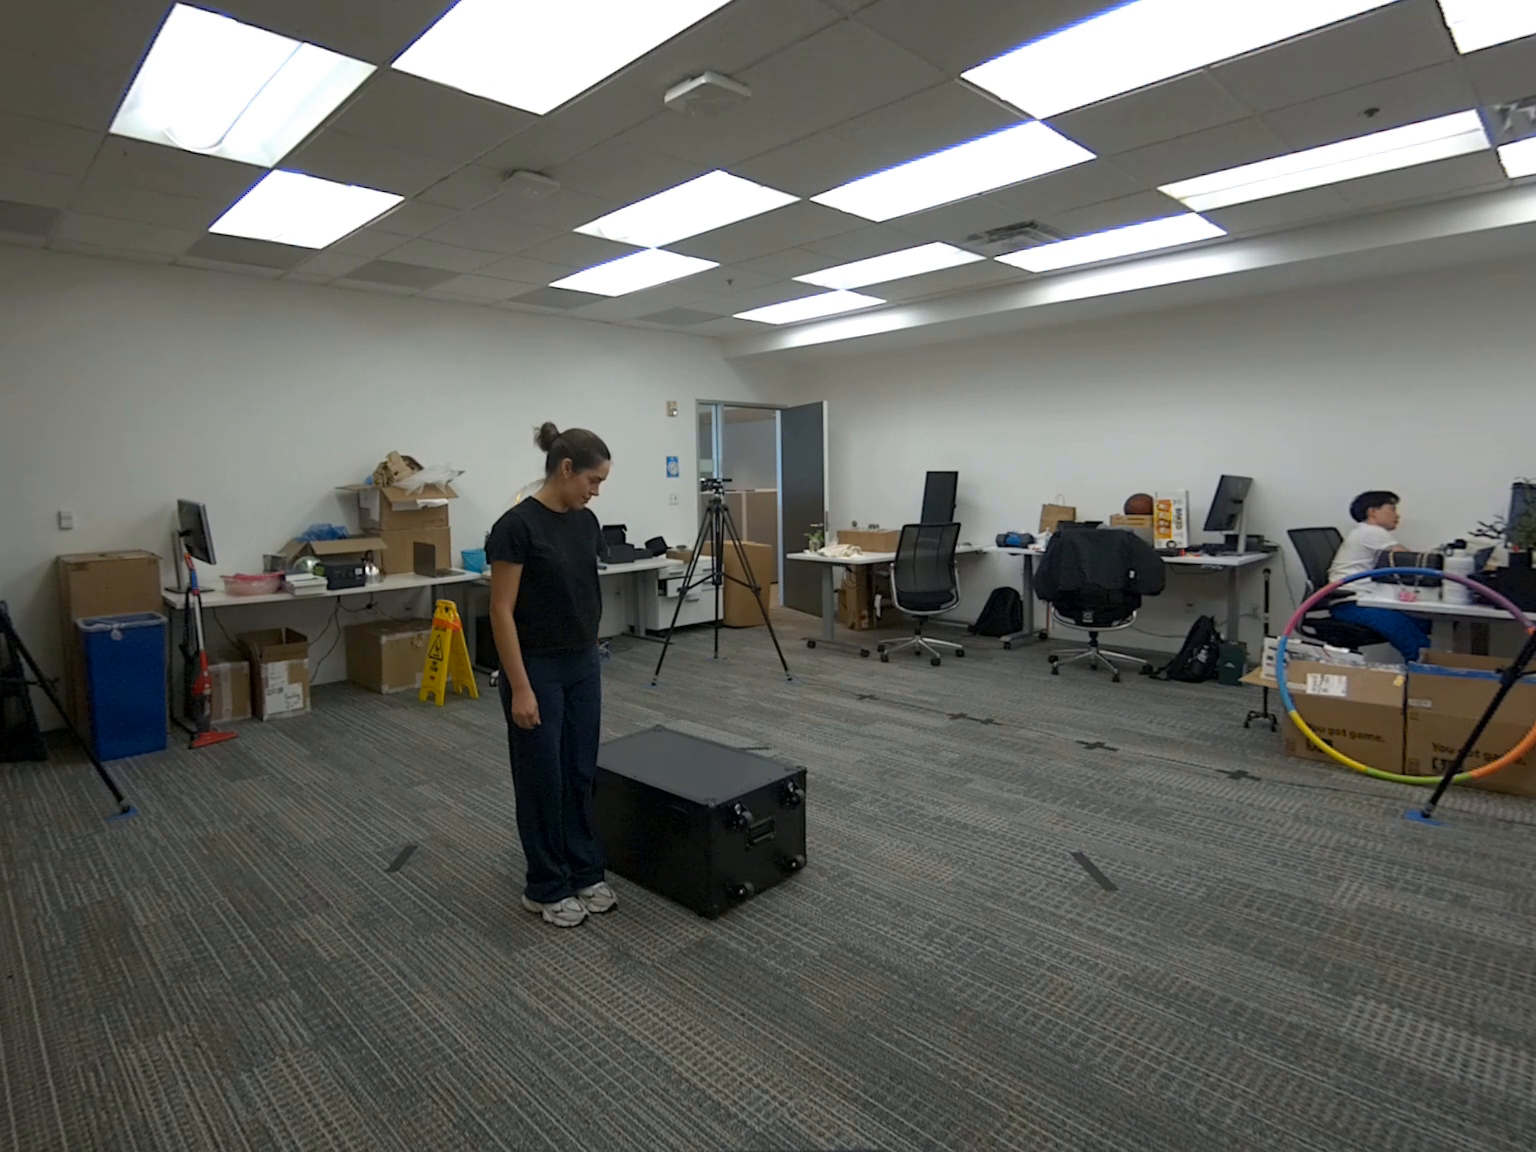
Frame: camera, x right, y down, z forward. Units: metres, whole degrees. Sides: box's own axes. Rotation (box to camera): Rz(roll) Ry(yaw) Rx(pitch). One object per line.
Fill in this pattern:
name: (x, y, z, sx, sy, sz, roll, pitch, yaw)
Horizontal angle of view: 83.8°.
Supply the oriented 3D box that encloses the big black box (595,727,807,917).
big black box: (-0.290, 0.857, 3.113, 0.888, 0.394, 0.508, 4, 8, 42)
